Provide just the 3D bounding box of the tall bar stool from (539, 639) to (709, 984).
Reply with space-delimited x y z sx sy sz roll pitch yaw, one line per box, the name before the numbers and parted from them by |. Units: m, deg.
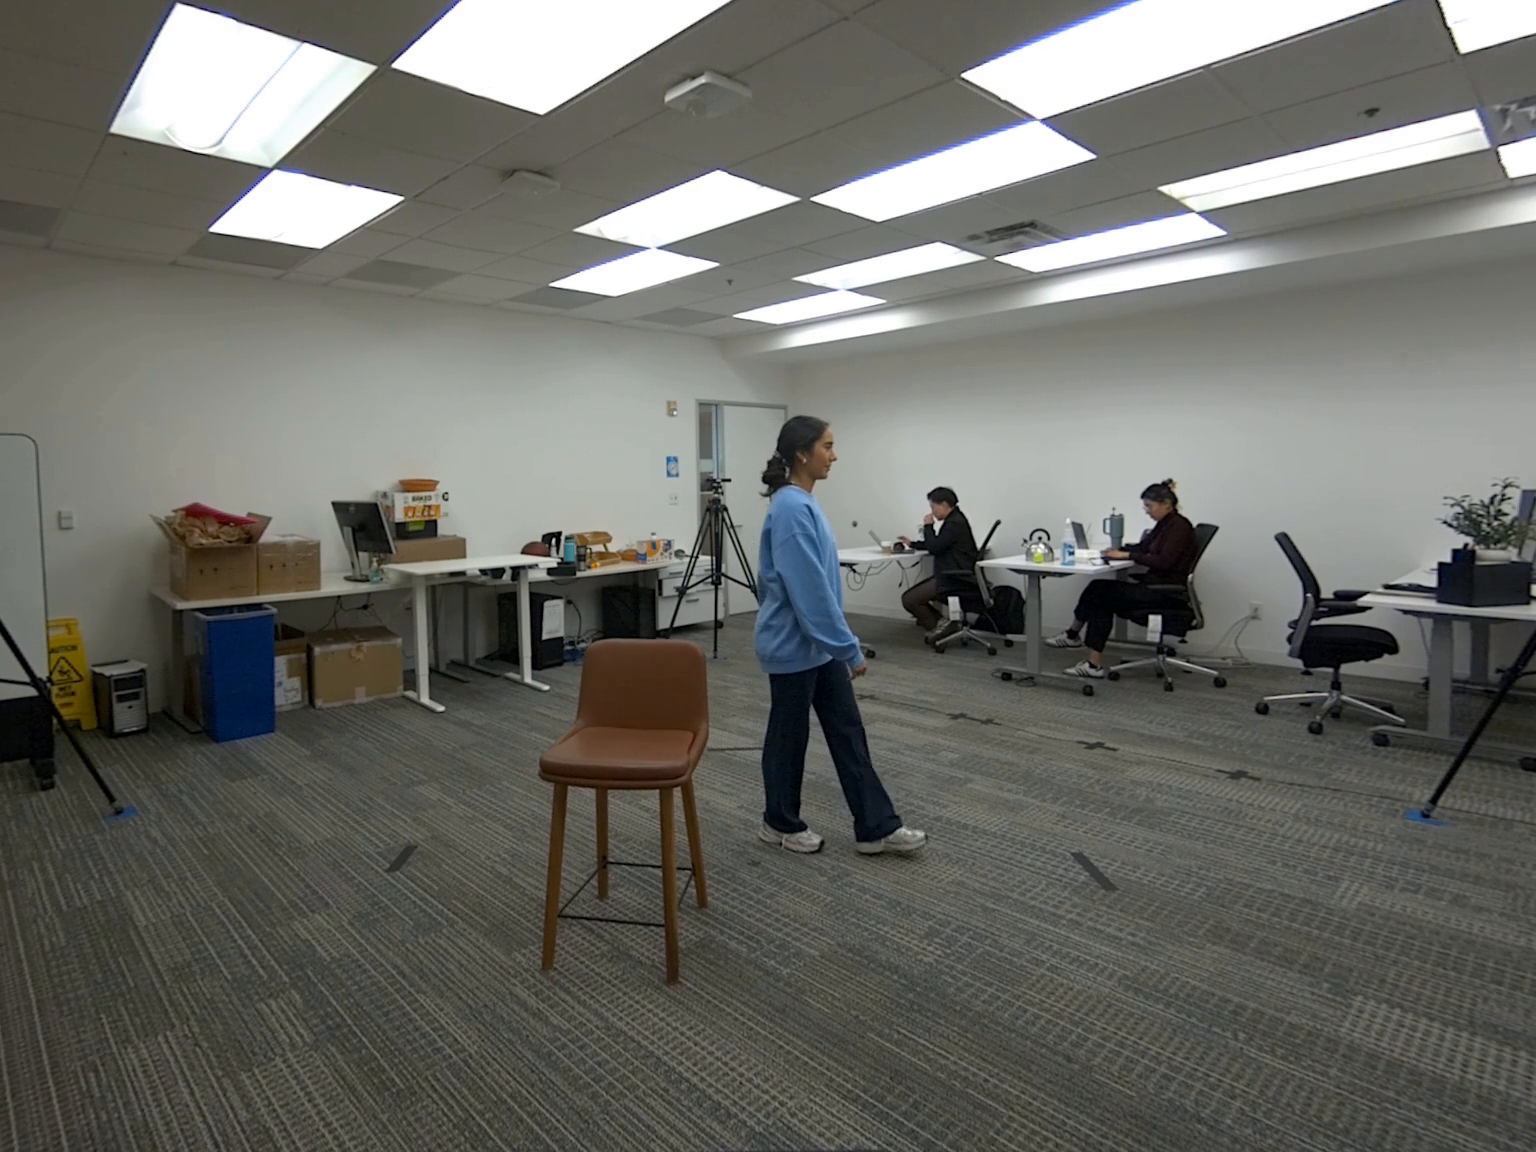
tall bar stool | -0.420 0.677 2.605 0.462 0.887 0.463 0 3 12
